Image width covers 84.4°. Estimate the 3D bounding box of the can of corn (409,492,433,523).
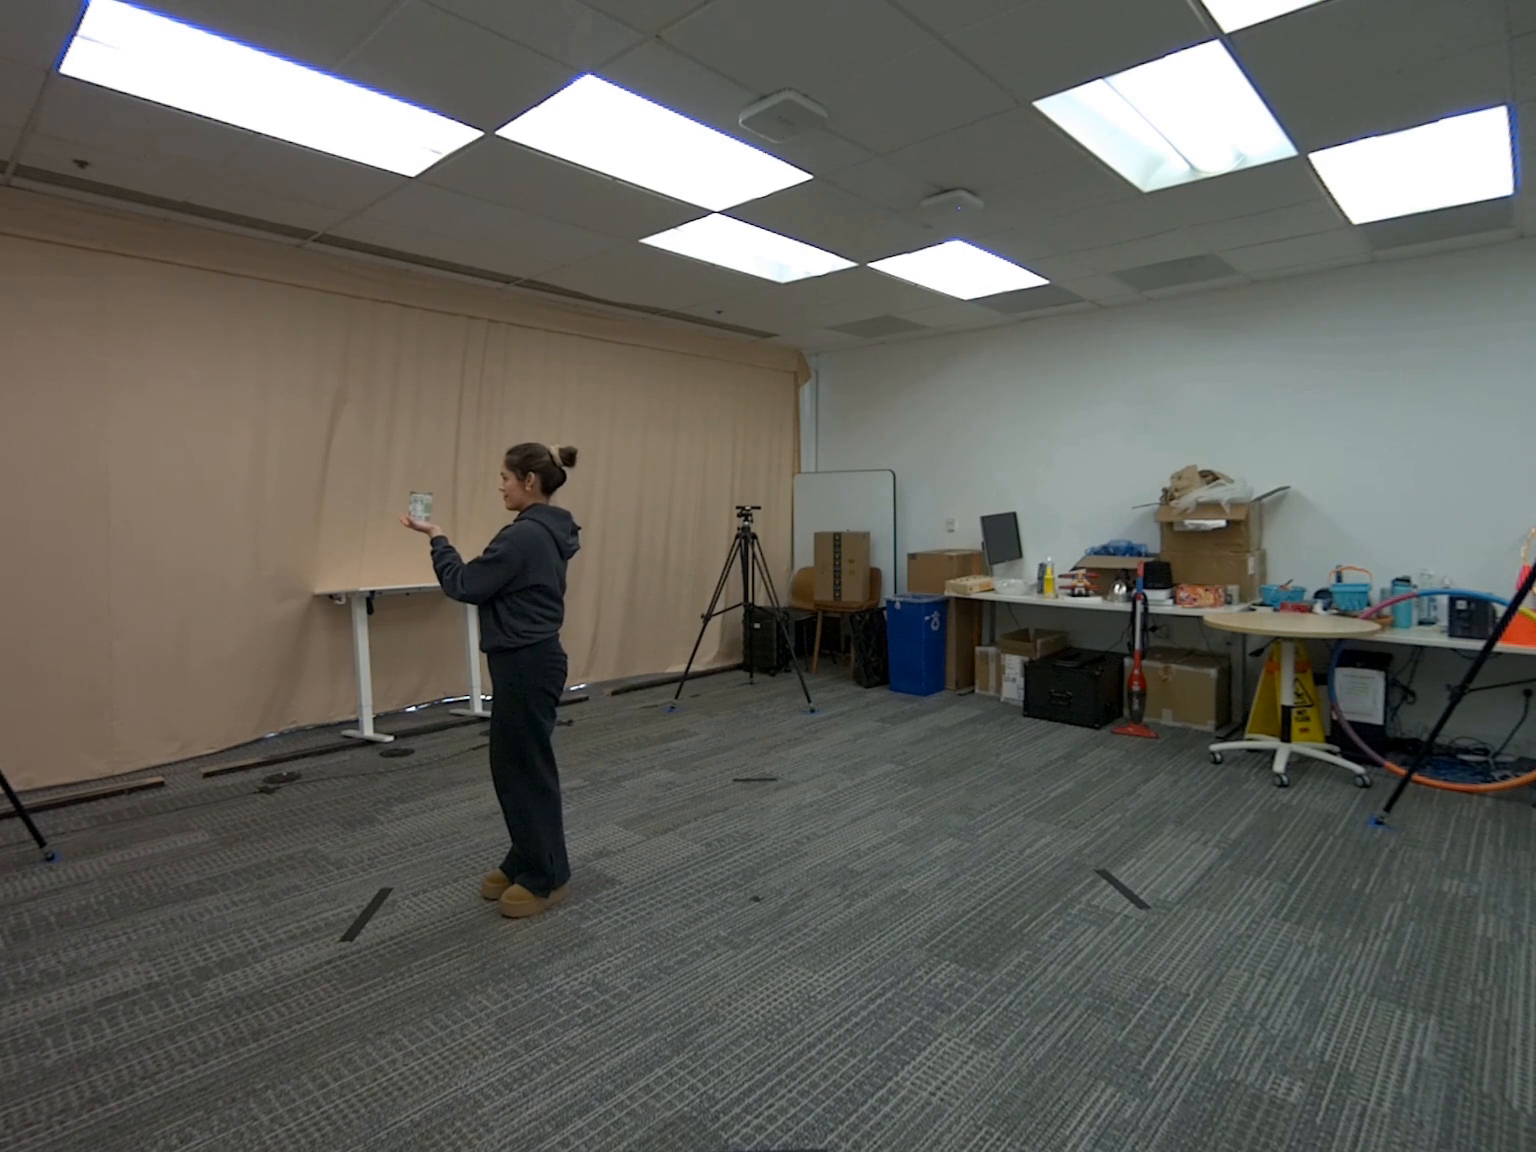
[{"bbox_3d":[-1.201,-0.224,2.931,0.074,0.111,0.074,4,3,-2],"label":"can of corn"}]
